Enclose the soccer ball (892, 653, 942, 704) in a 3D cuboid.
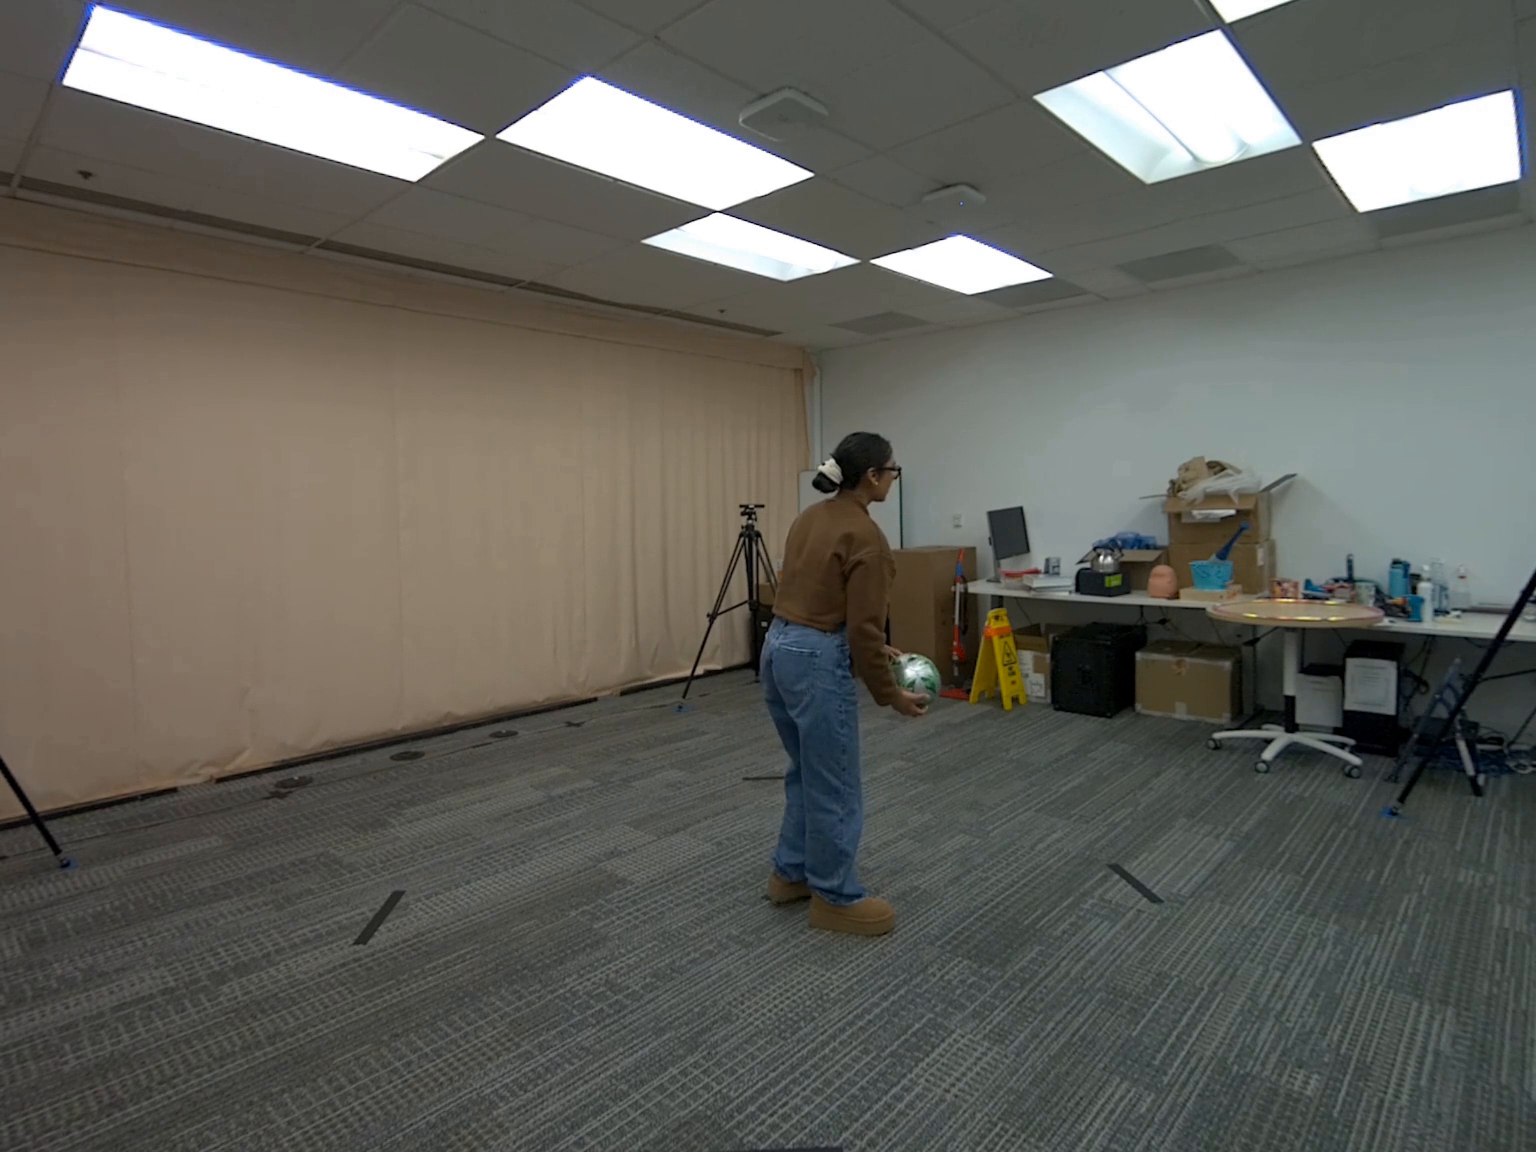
[{"bbox_3d":[0.473,0.347,2.758,0.187,0.187,0.188,-1,4,-2],"label":"soccer ball"}]
